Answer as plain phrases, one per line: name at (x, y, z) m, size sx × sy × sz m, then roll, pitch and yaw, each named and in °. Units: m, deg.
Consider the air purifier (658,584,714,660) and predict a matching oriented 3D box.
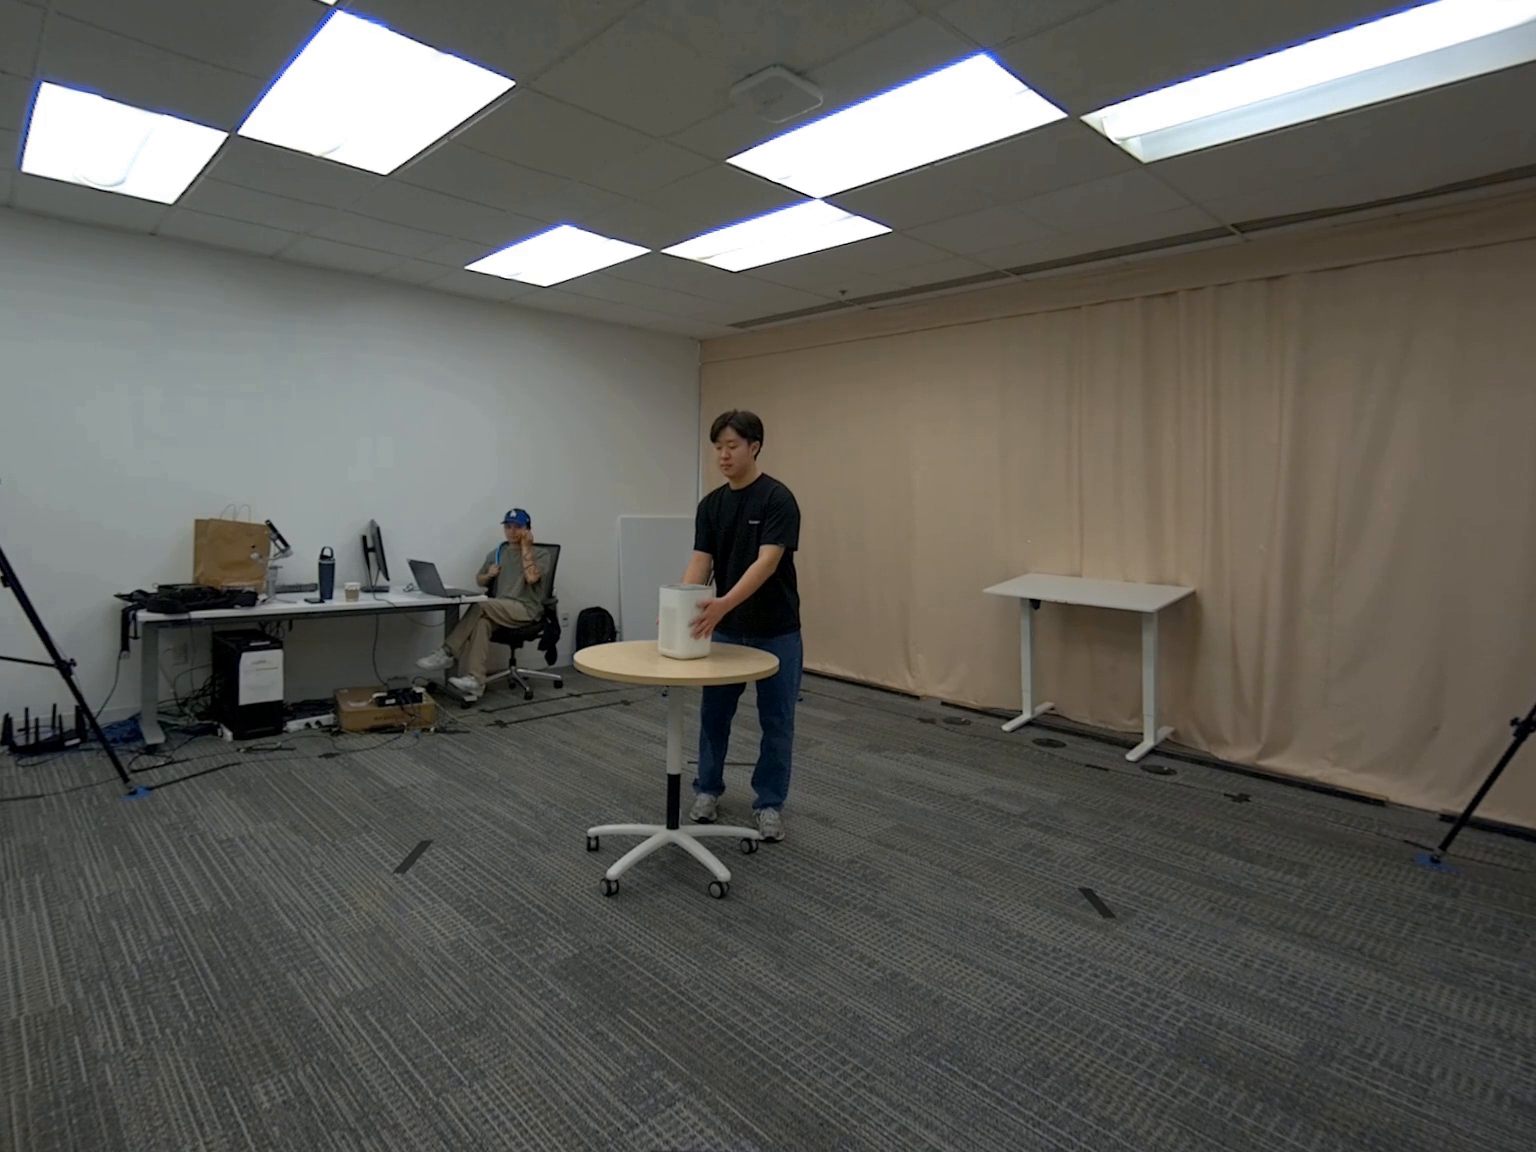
air purifier at (-0.317, 0.172, 3.173) m, size 0.167 × 0.265 × 0.176 m, roll 0°, pitch 4°, yaw -45°
